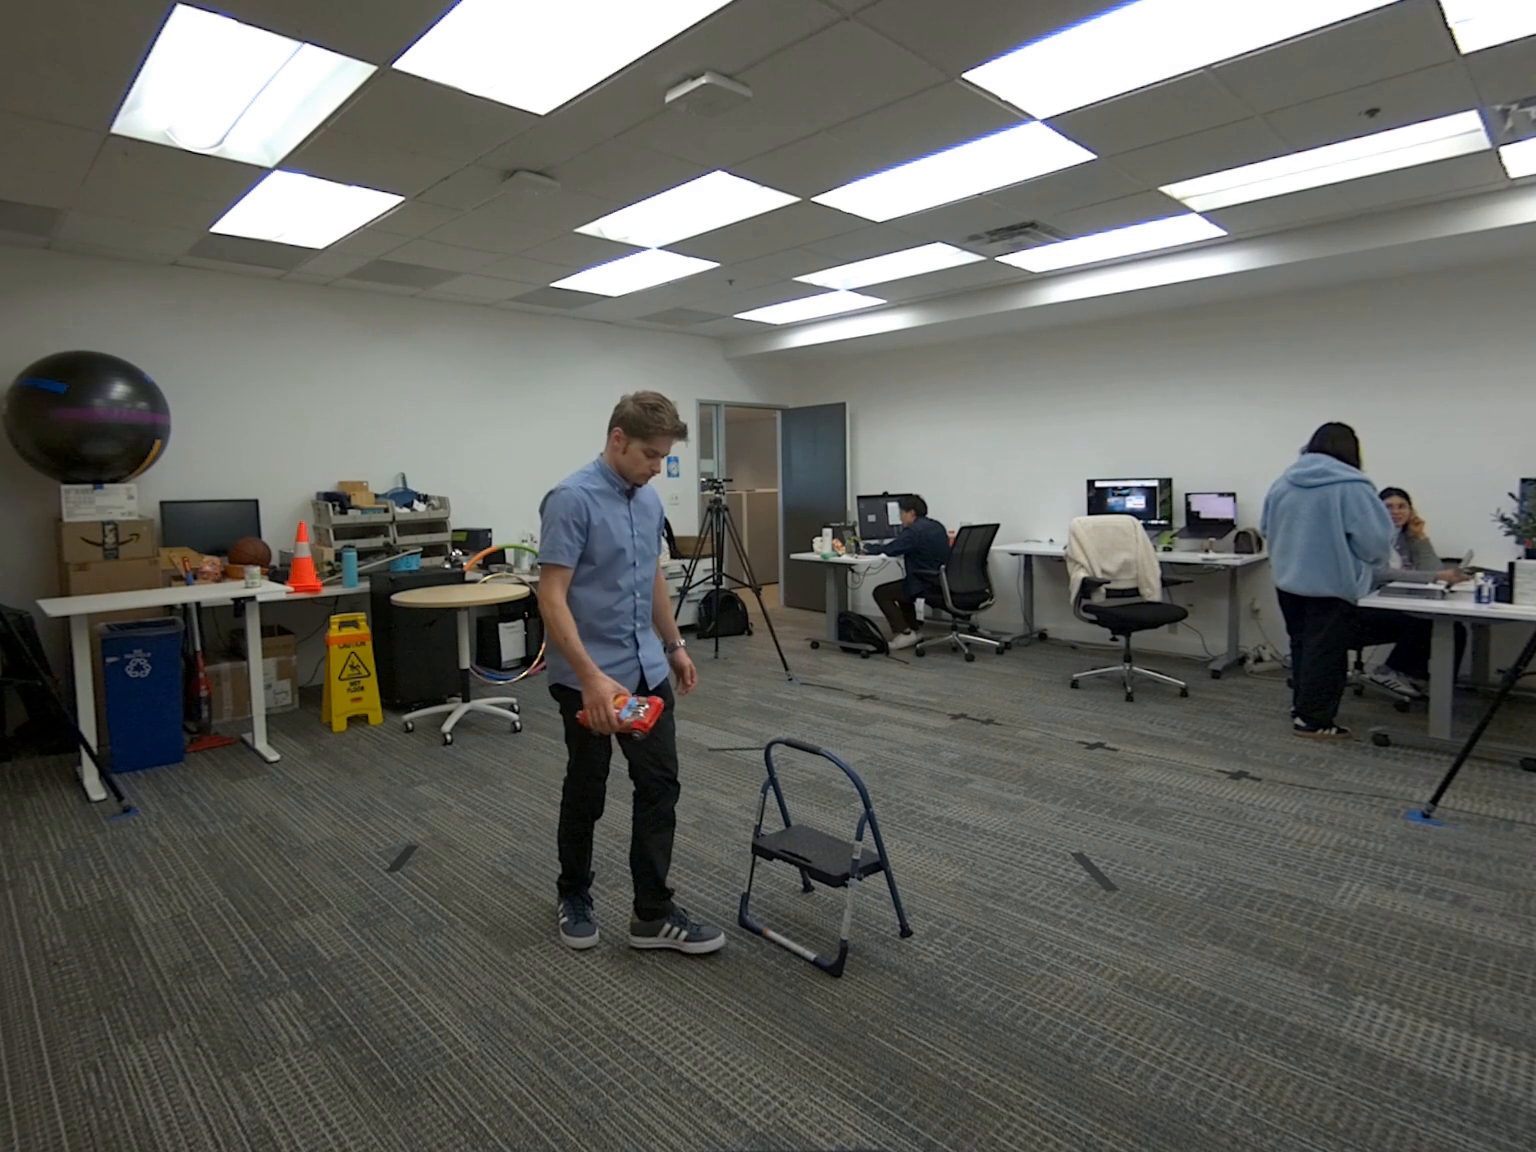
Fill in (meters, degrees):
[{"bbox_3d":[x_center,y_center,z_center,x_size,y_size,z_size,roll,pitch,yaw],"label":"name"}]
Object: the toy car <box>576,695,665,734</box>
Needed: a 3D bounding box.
[{"bbox_3d":[-0.404,0.368,2.299,0.261,0.080,0.131,3,43,26],"label":"toy car"}]
